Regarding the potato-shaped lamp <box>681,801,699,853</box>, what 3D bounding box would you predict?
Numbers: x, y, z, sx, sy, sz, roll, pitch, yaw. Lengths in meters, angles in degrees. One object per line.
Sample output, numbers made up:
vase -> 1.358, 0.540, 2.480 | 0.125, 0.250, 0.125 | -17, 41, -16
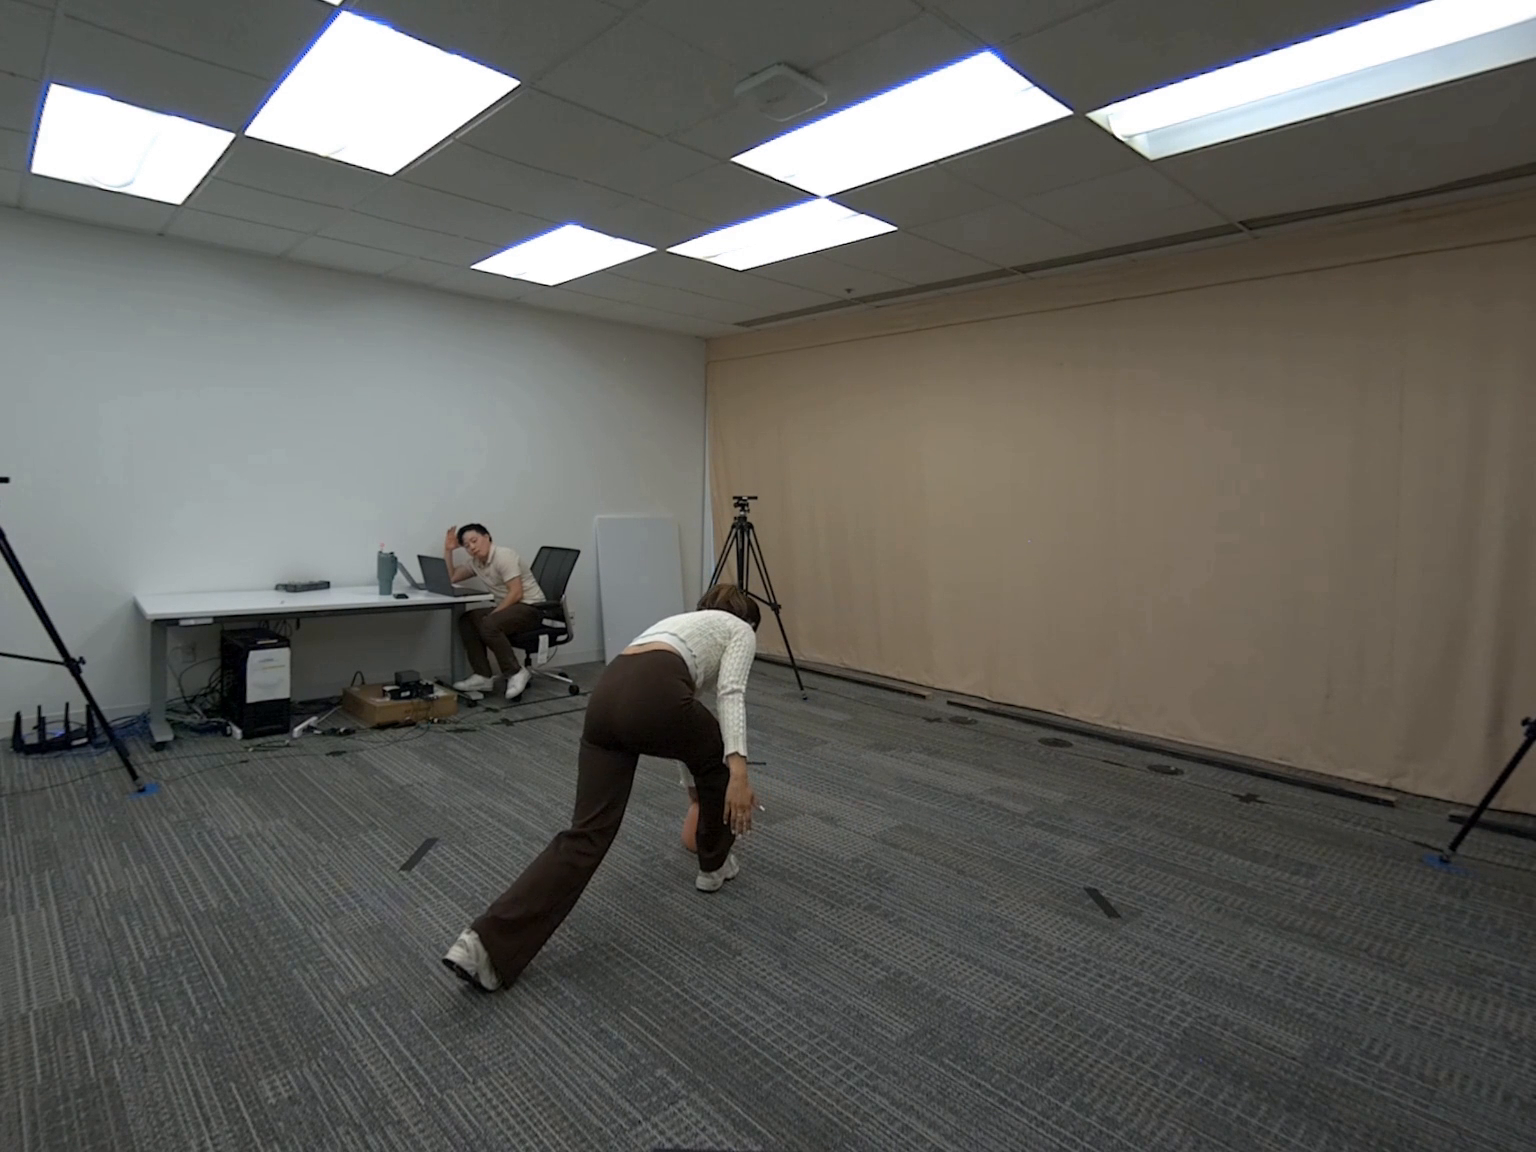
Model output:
potato-shaped lamp -> -0.261, 0.982, 3.317 | 0.162, 0.196, 0.176 | -7, 14, -27
